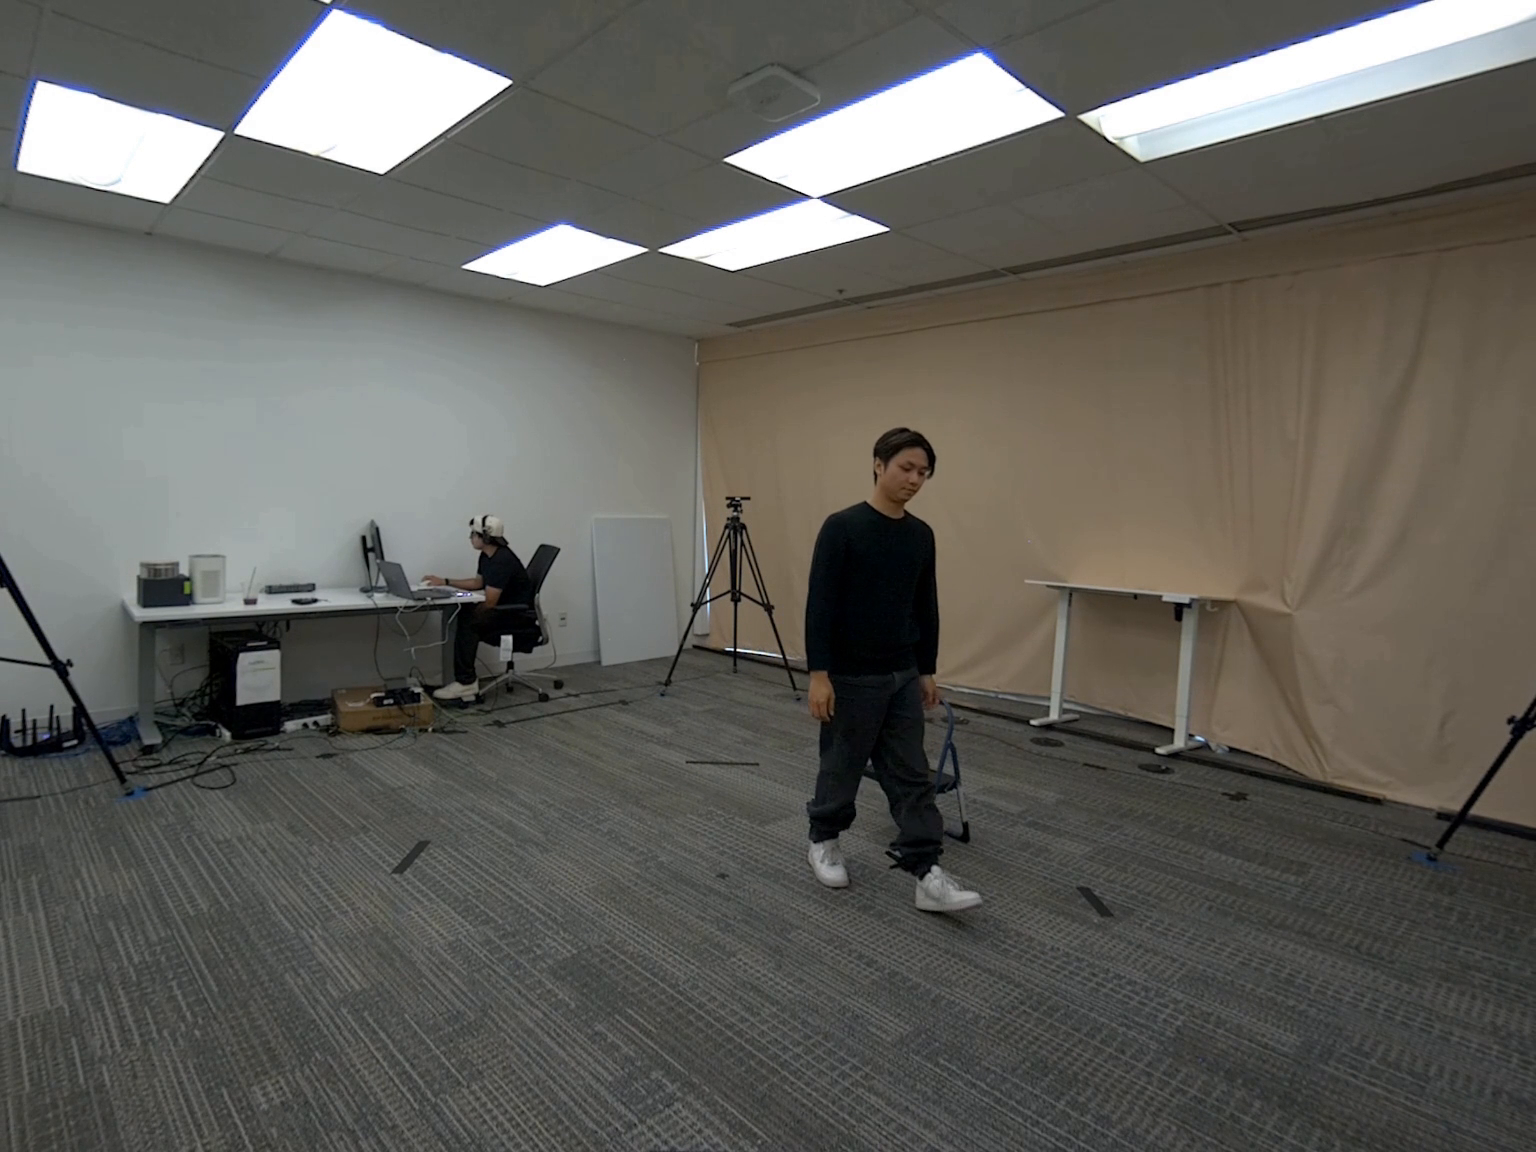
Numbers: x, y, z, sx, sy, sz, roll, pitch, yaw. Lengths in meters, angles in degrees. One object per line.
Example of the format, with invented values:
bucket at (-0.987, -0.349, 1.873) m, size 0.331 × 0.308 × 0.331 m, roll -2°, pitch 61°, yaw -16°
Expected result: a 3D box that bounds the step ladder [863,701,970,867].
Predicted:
step ladder at (0.581, 0.788, 3.522) m, size 0.341 × 0.605 × 0.441 m, roll -1°, pitch 4°, yaw -39°
